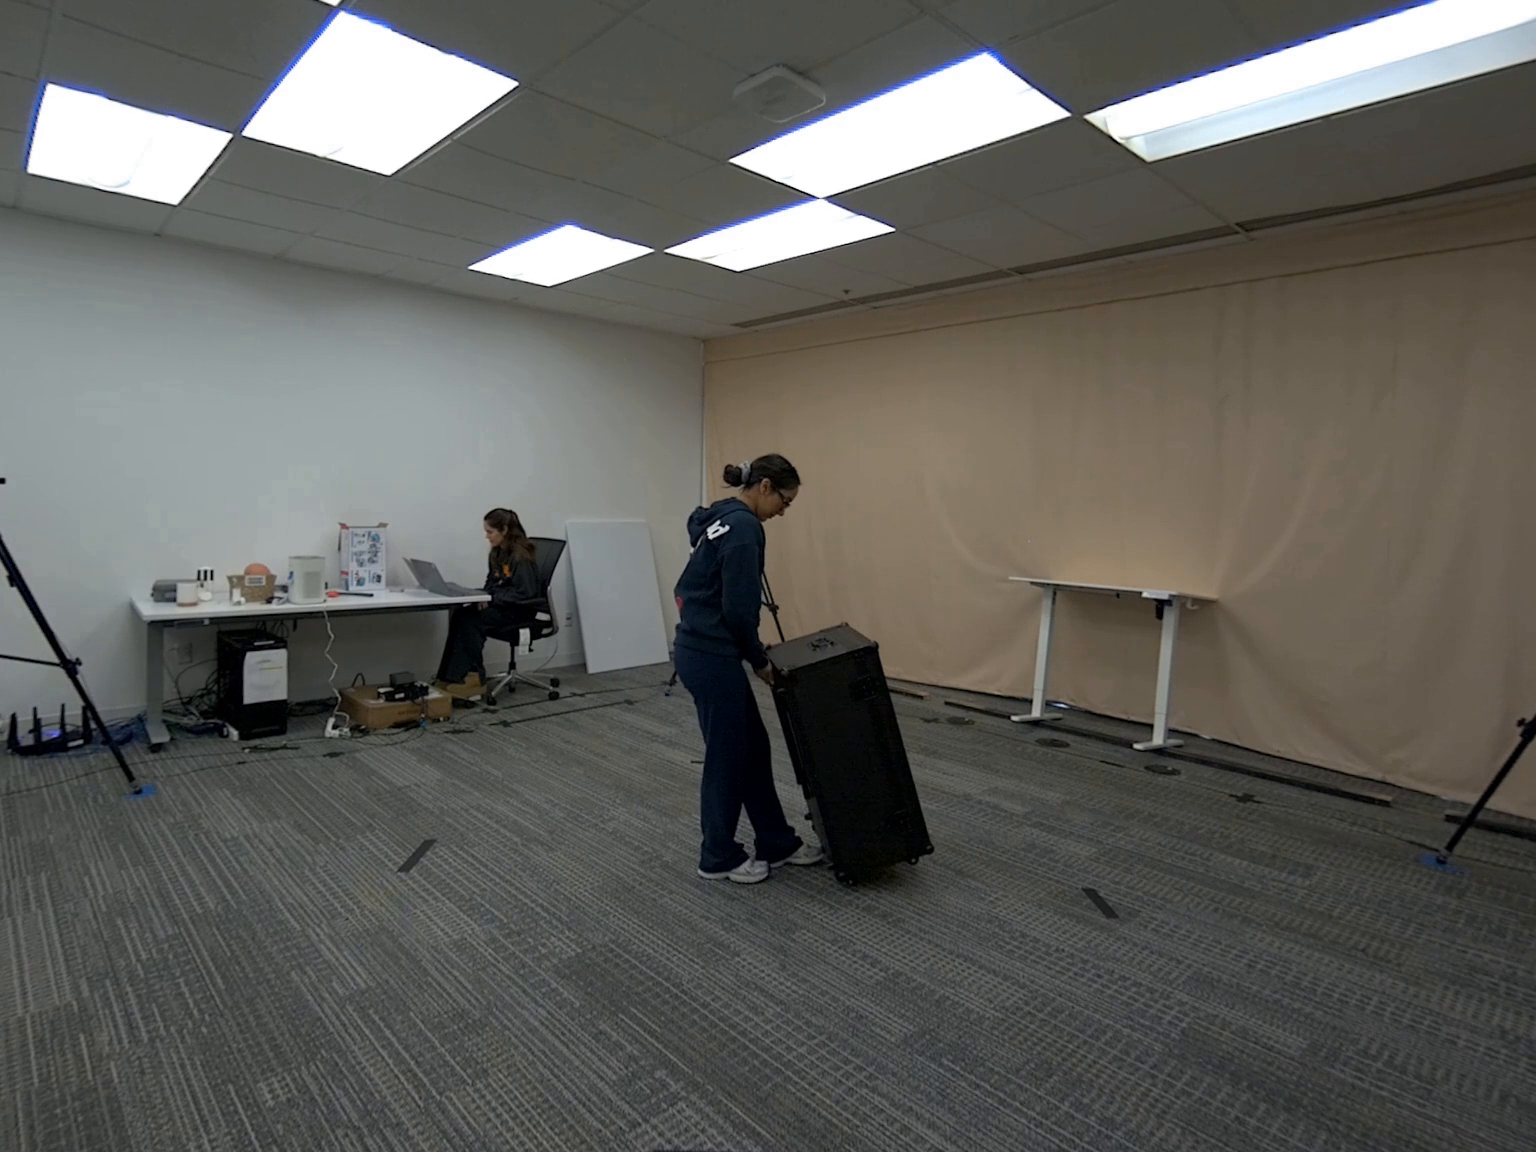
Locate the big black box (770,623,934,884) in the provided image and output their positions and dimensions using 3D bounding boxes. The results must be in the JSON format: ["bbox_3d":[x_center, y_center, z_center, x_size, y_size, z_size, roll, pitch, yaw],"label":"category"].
[{"bbox_3d":[0.276,0.668,3.179,0.395,0.857,0.525,-16,5,-5],"label":"big black box"}]
